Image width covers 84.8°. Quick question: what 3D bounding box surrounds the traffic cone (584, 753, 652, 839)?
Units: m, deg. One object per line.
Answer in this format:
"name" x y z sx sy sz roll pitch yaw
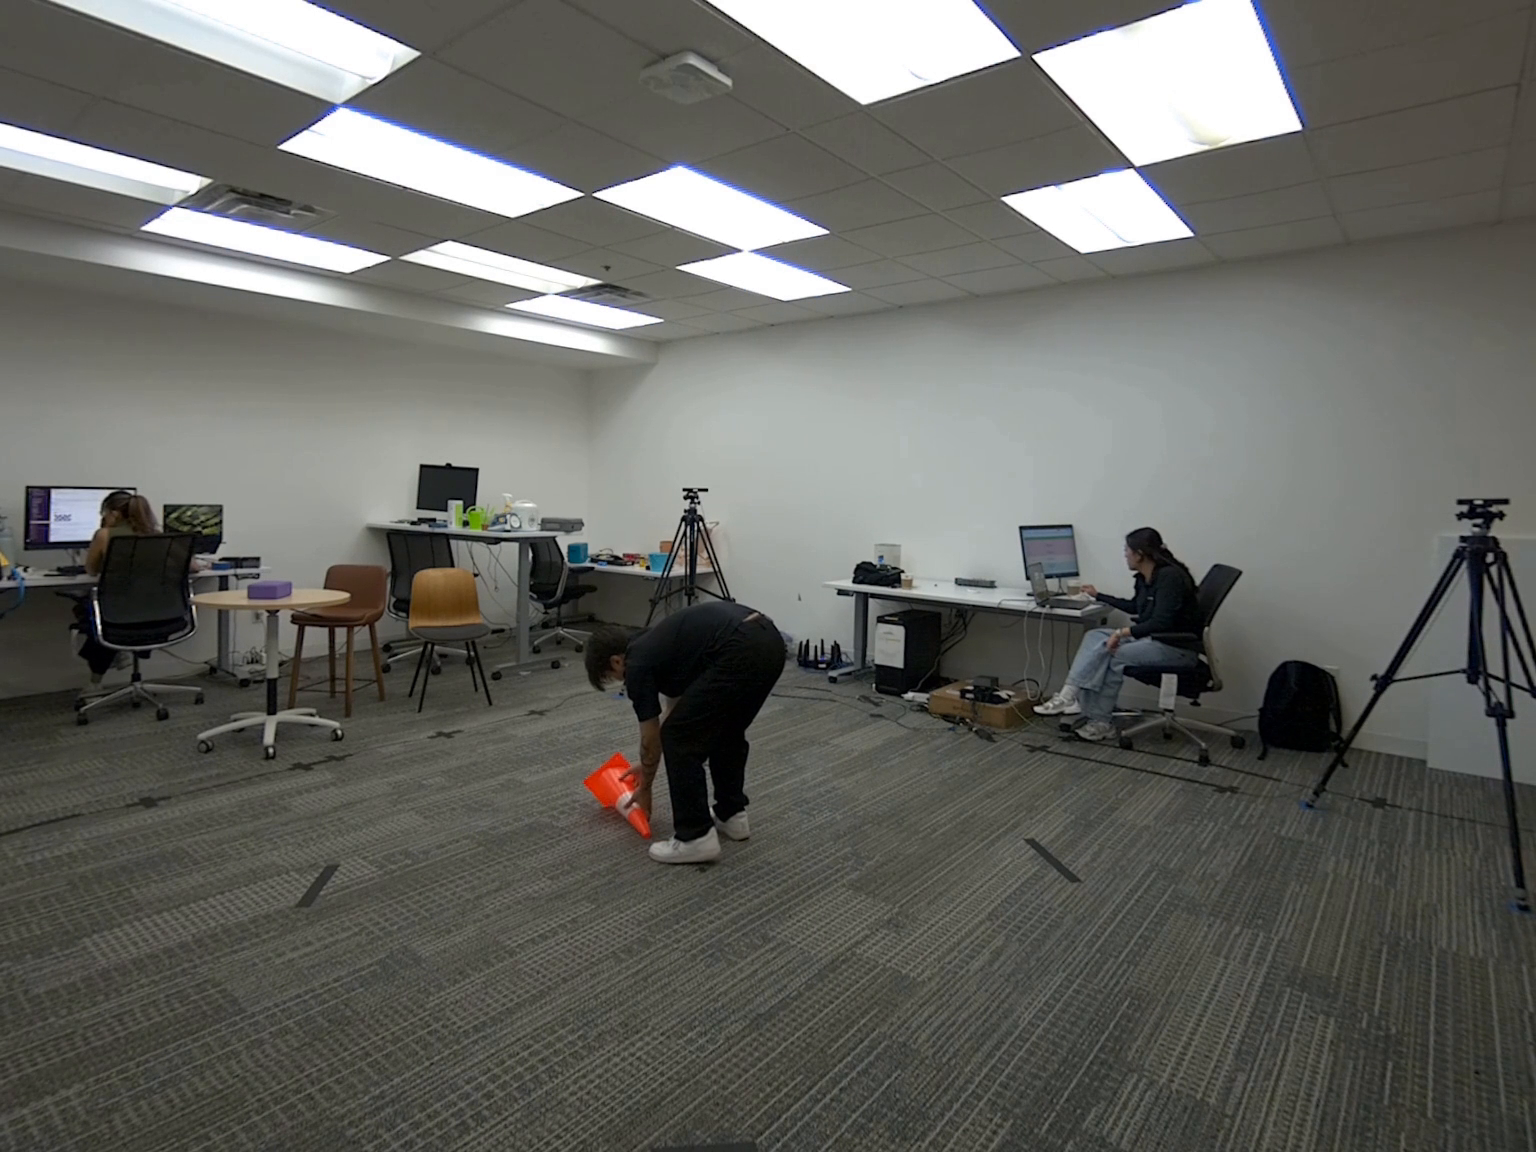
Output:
"traffic cone" -0.590 0.953 3.533 0.203 0.197 0.399 -41 37 -11
